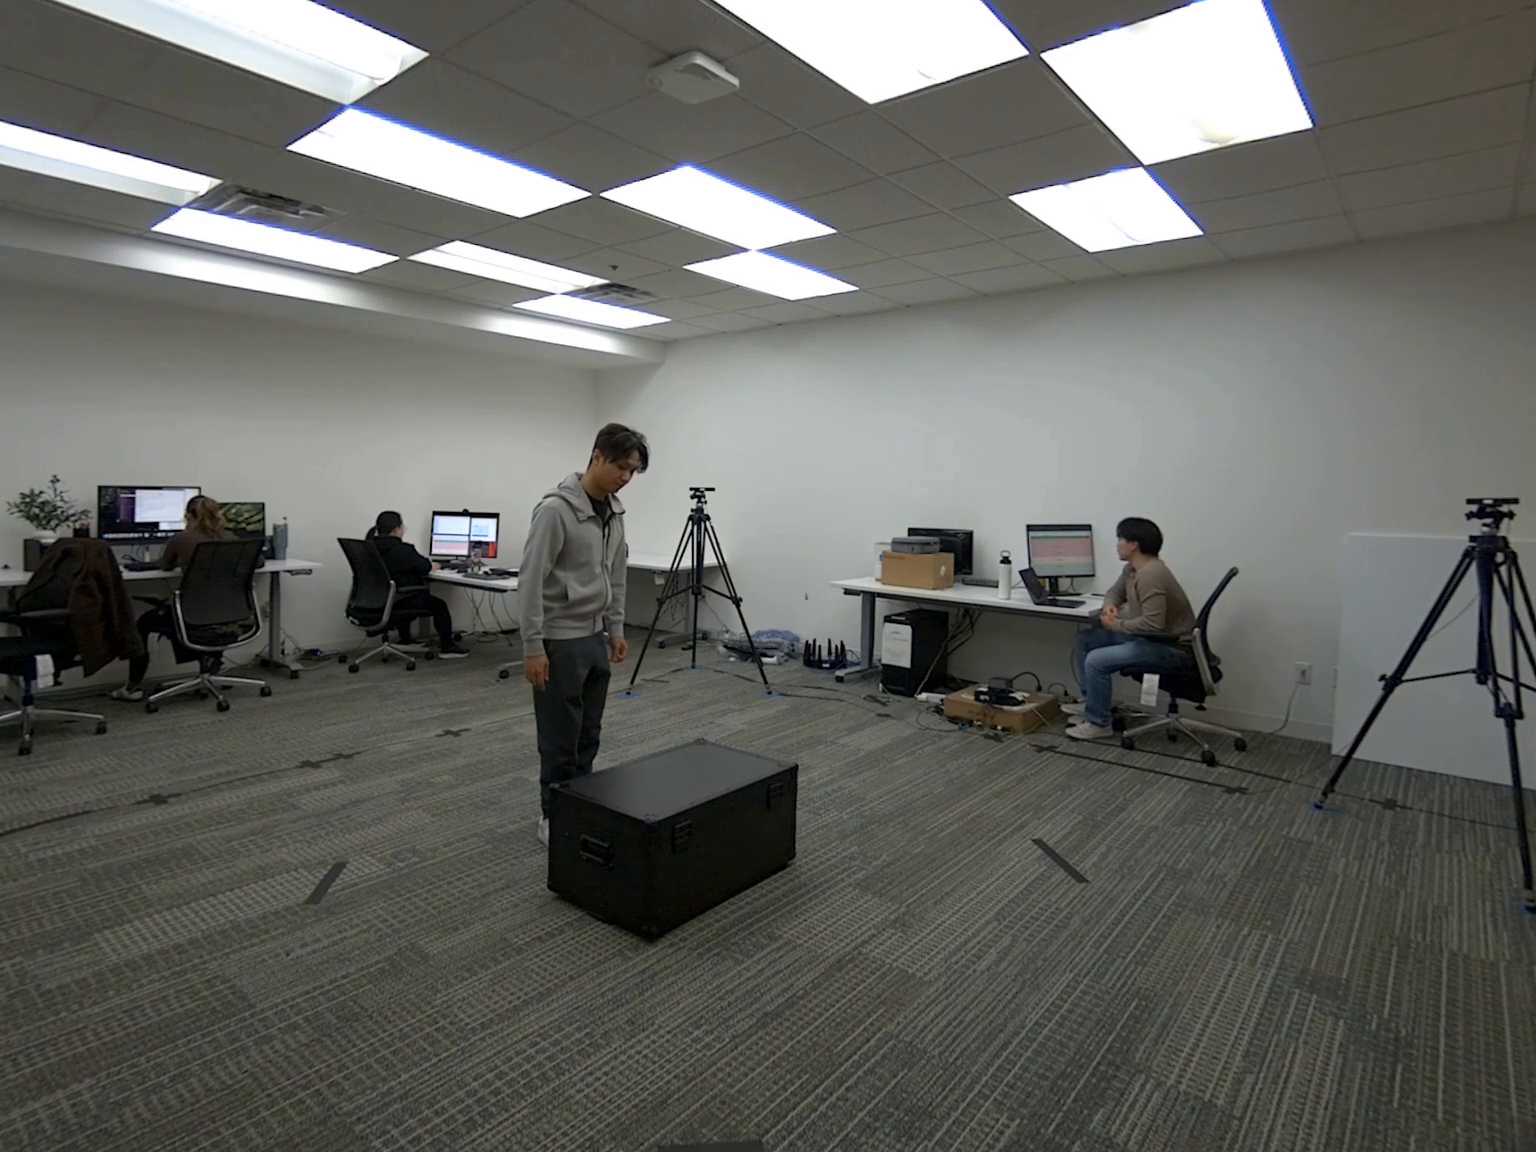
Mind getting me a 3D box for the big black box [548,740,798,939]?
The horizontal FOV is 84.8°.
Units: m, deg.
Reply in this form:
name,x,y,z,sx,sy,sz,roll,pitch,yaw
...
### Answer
name,x,y,z,sx,sy,sz,roll,pitch,yaw
big black box,-0.302,0.883,3.028,0.538,0.395,0.837,4,6,37
